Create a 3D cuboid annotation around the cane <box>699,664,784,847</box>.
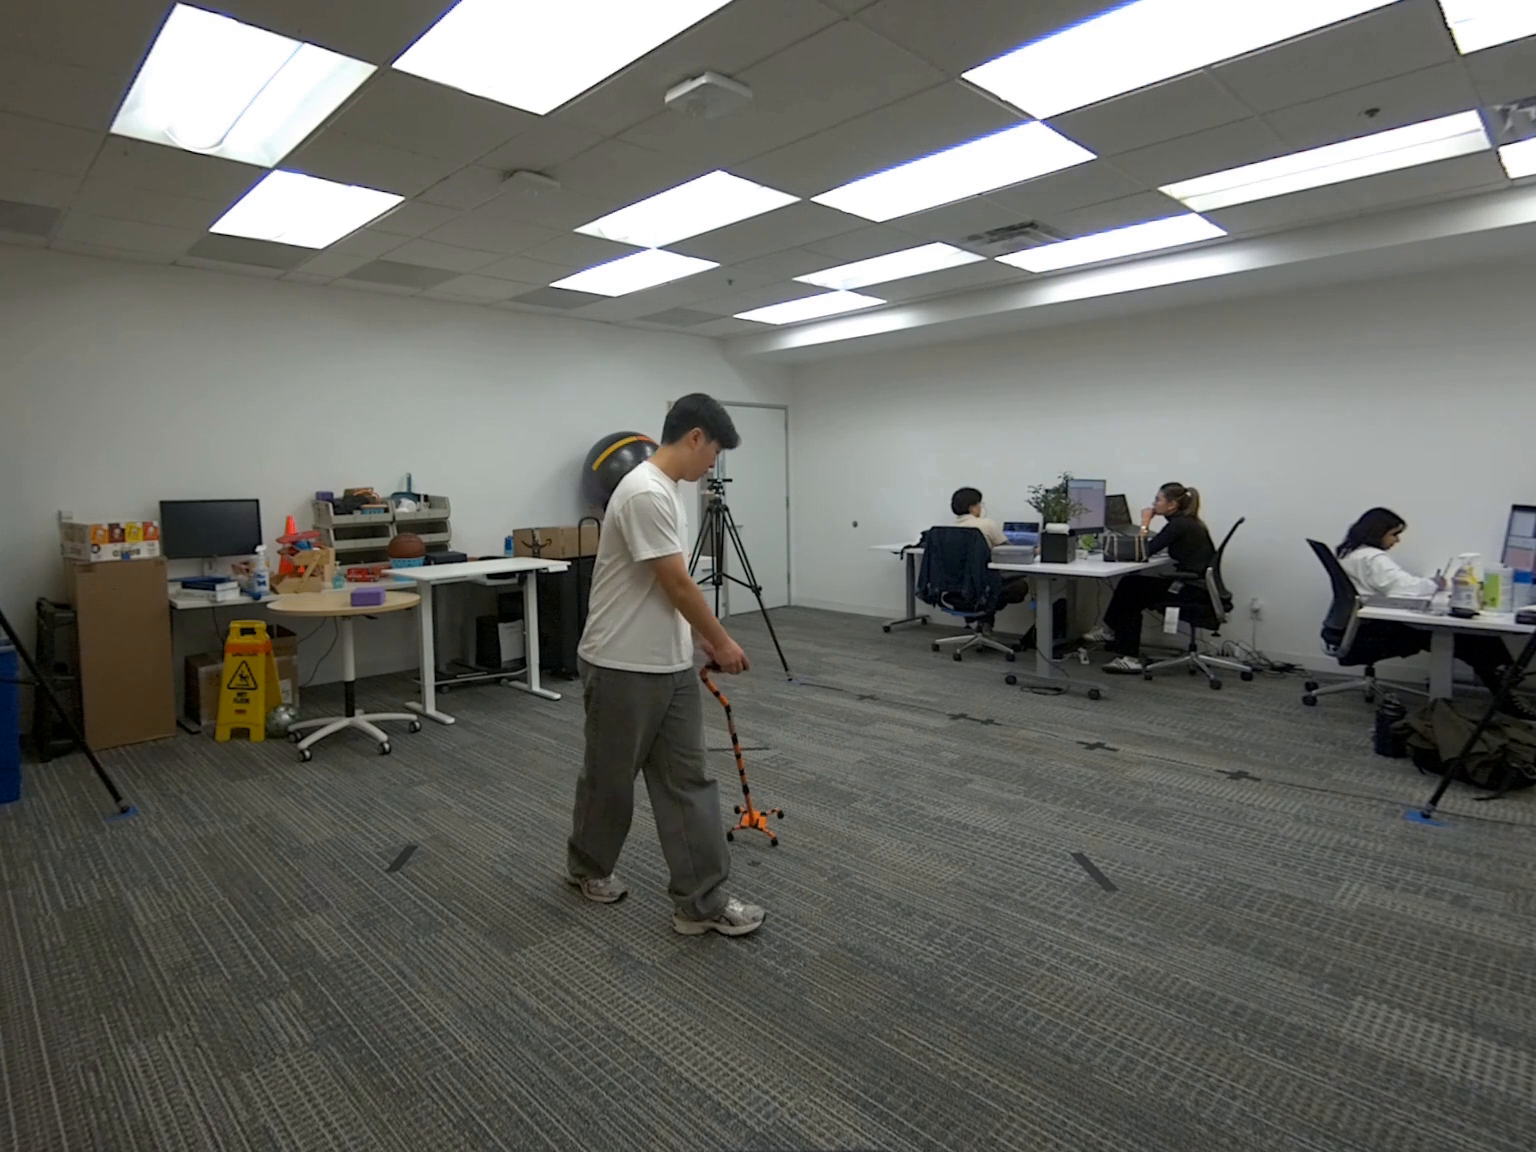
[{"bbox_3d":[-0.103,0.636,3.090,0.210,0.881,0.154,2,38,15],"label":"cane"}]
